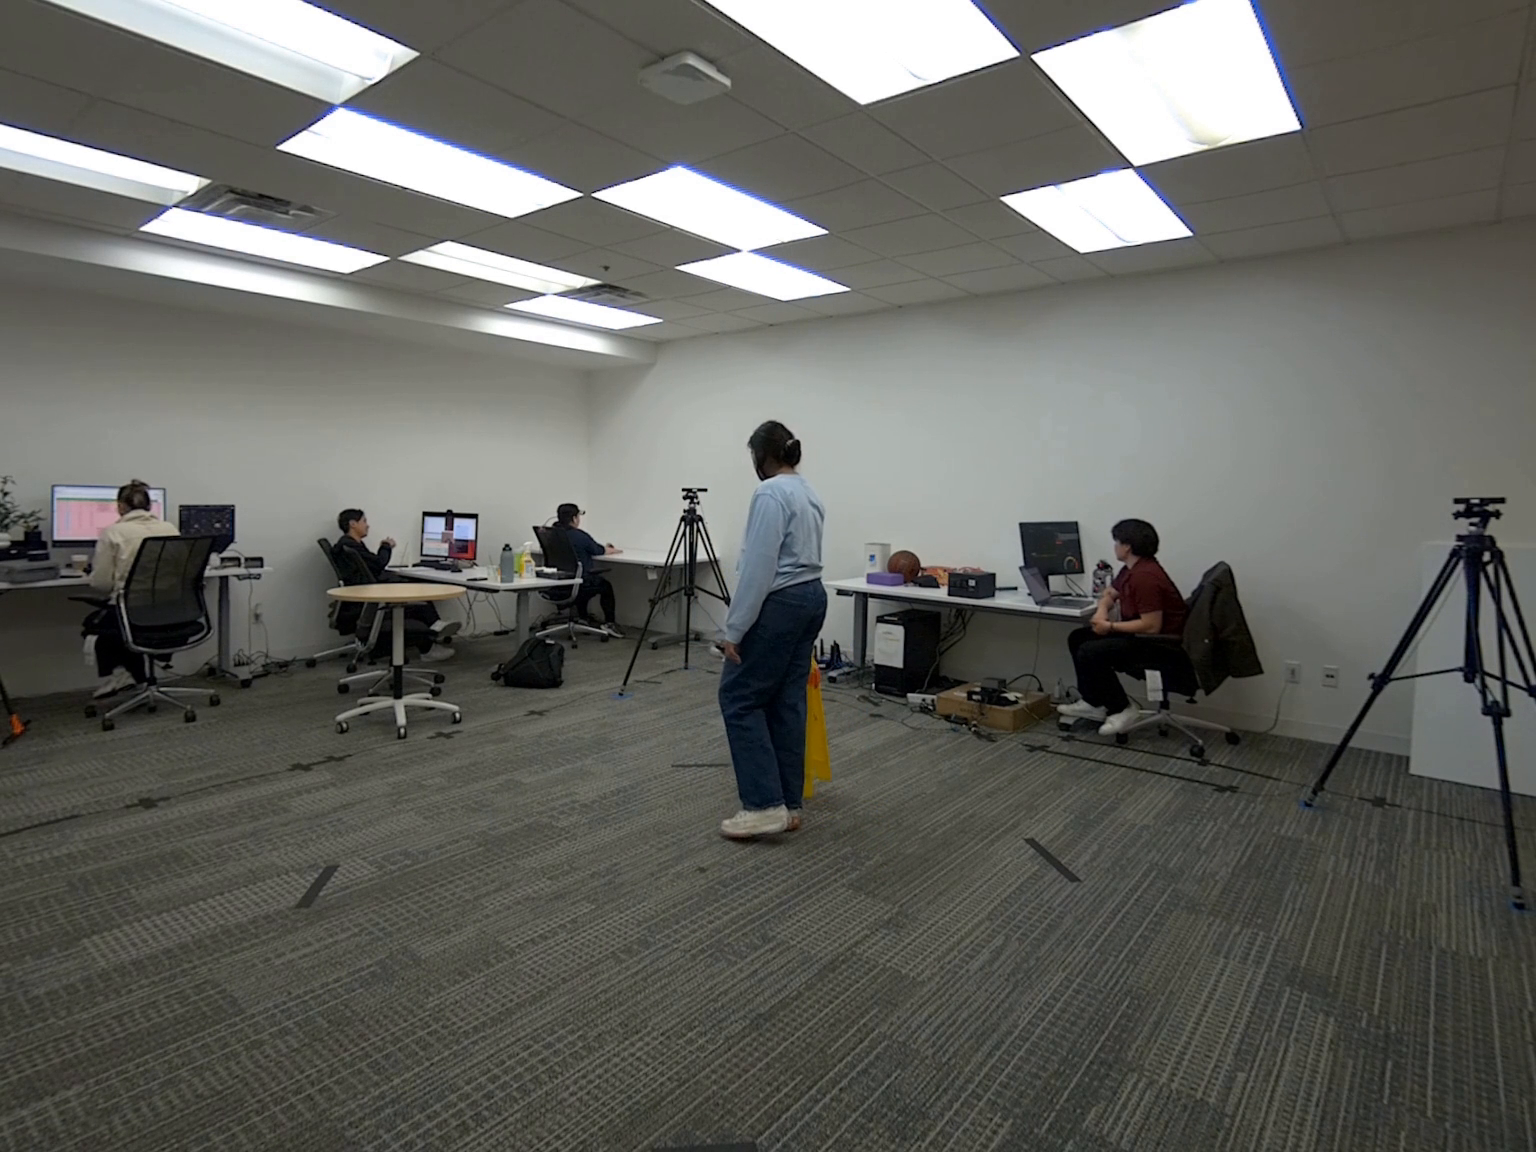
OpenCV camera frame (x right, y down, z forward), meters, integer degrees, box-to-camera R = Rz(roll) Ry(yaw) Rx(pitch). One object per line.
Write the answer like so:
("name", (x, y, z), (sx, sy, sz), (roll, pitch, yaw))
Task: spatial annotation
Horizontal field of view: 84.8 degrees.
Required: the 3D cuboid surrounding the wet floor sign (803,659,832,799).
("wet floor sign", (0.106, 0.622, 3.859), (0.290, 0.644, 0.282), (2, 4, 28))
